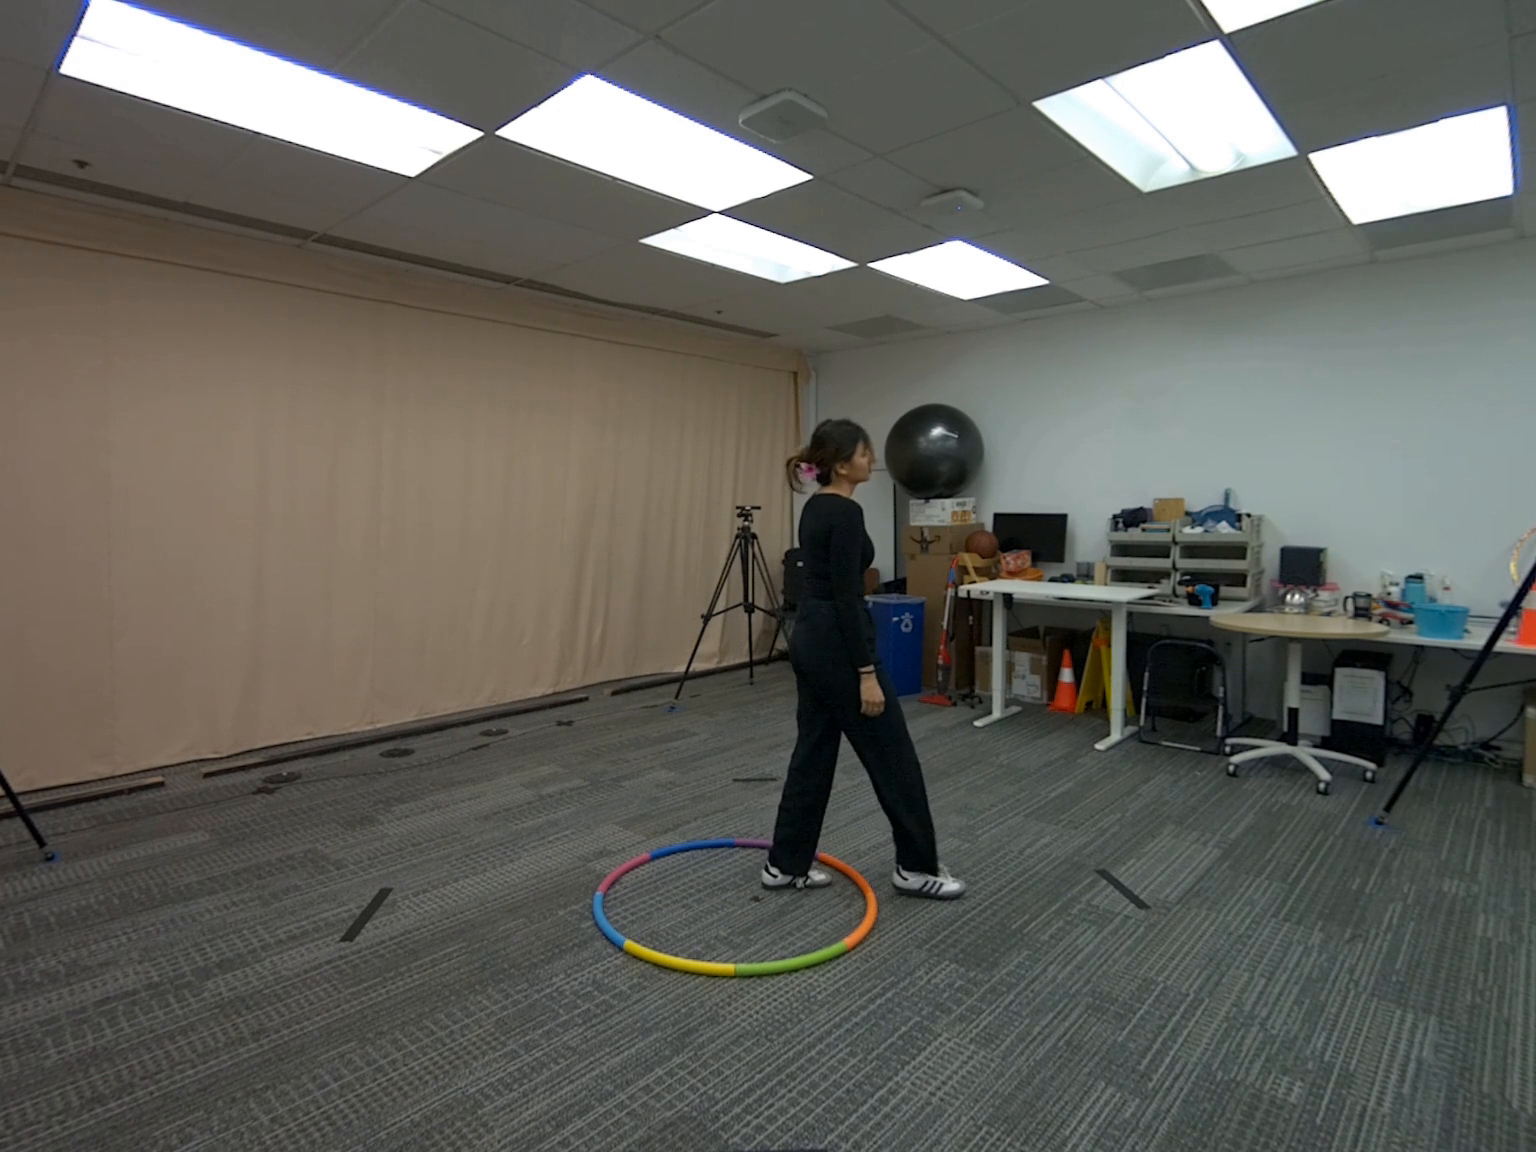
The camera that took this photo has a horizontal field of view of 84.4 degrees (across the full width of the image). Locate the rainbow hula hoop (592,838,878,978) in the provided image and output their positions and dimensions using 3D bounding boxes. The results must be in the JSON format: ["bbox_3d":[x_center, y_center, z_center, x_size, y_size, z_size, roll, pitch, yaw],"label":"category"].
[{"bbox_3d":[-0.117,1.117,2.967,0.978,0.035,0.982,0,5,-2],"label":"rainbow hula hoop"}]
